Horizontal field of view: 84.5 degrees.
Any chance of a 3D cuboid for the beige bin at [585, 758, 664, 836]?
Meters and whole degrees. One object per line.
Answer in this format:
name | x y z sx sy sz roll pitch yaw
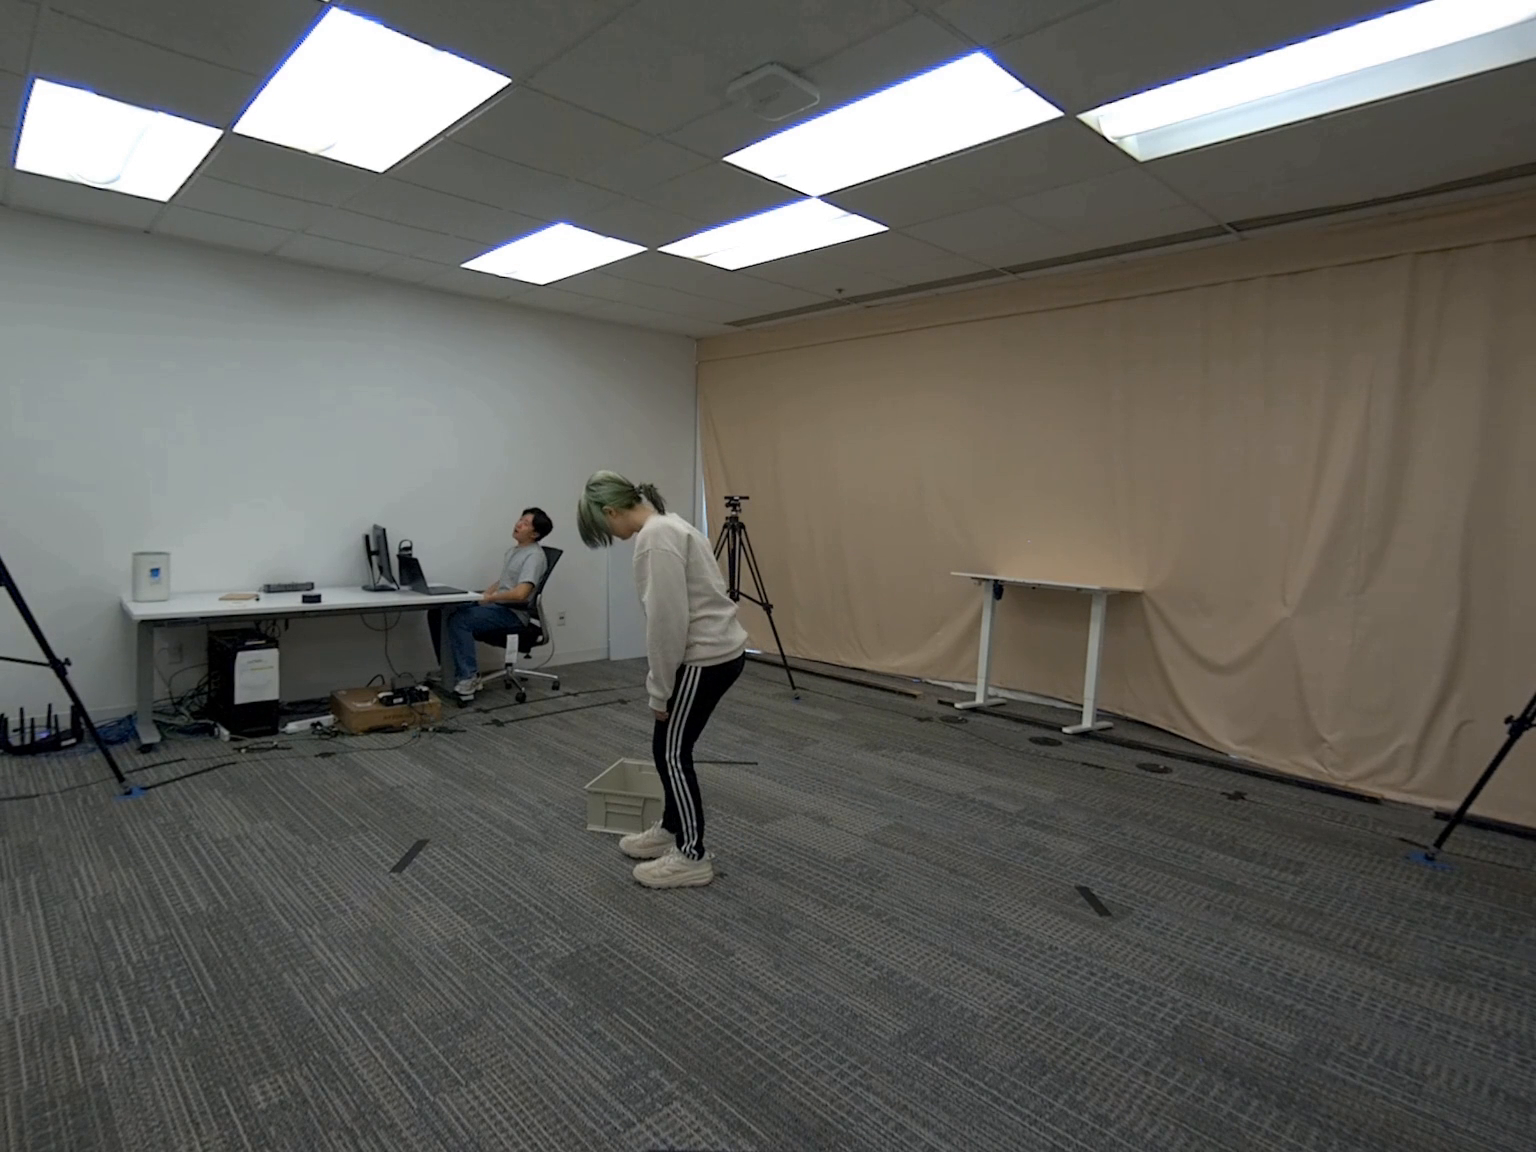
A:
beige bin | -0.547 0.958 3.643 0.381 0.188 0.419 2 5 13
